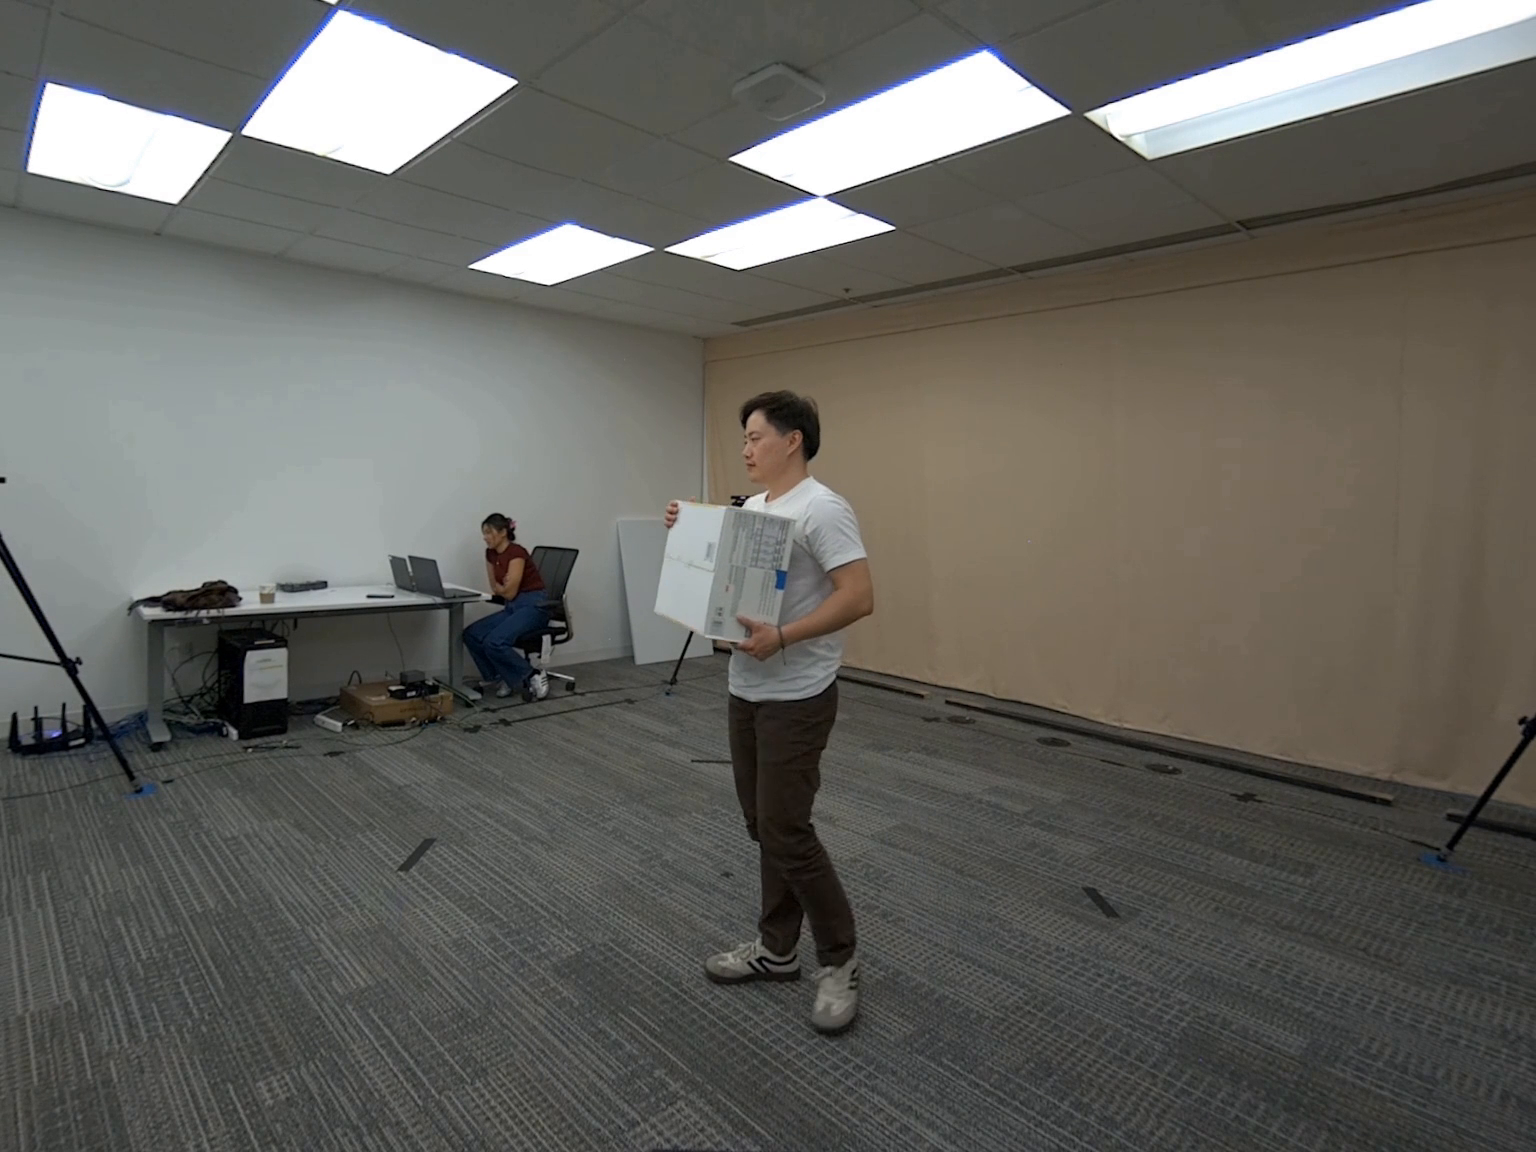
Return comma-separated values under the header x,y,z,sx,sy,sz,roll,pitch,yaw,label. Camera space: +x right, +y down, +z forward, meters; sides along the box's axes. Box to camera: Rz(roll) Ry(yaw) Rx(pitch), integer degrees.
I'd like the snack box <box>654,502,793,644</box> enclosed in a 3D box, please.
x,y,z,sx,sy,sz,roll,pitch,yaw,label
-0.133,-0.017,2.322,0.201,0.340,0.413,10,1,-25,snack box
